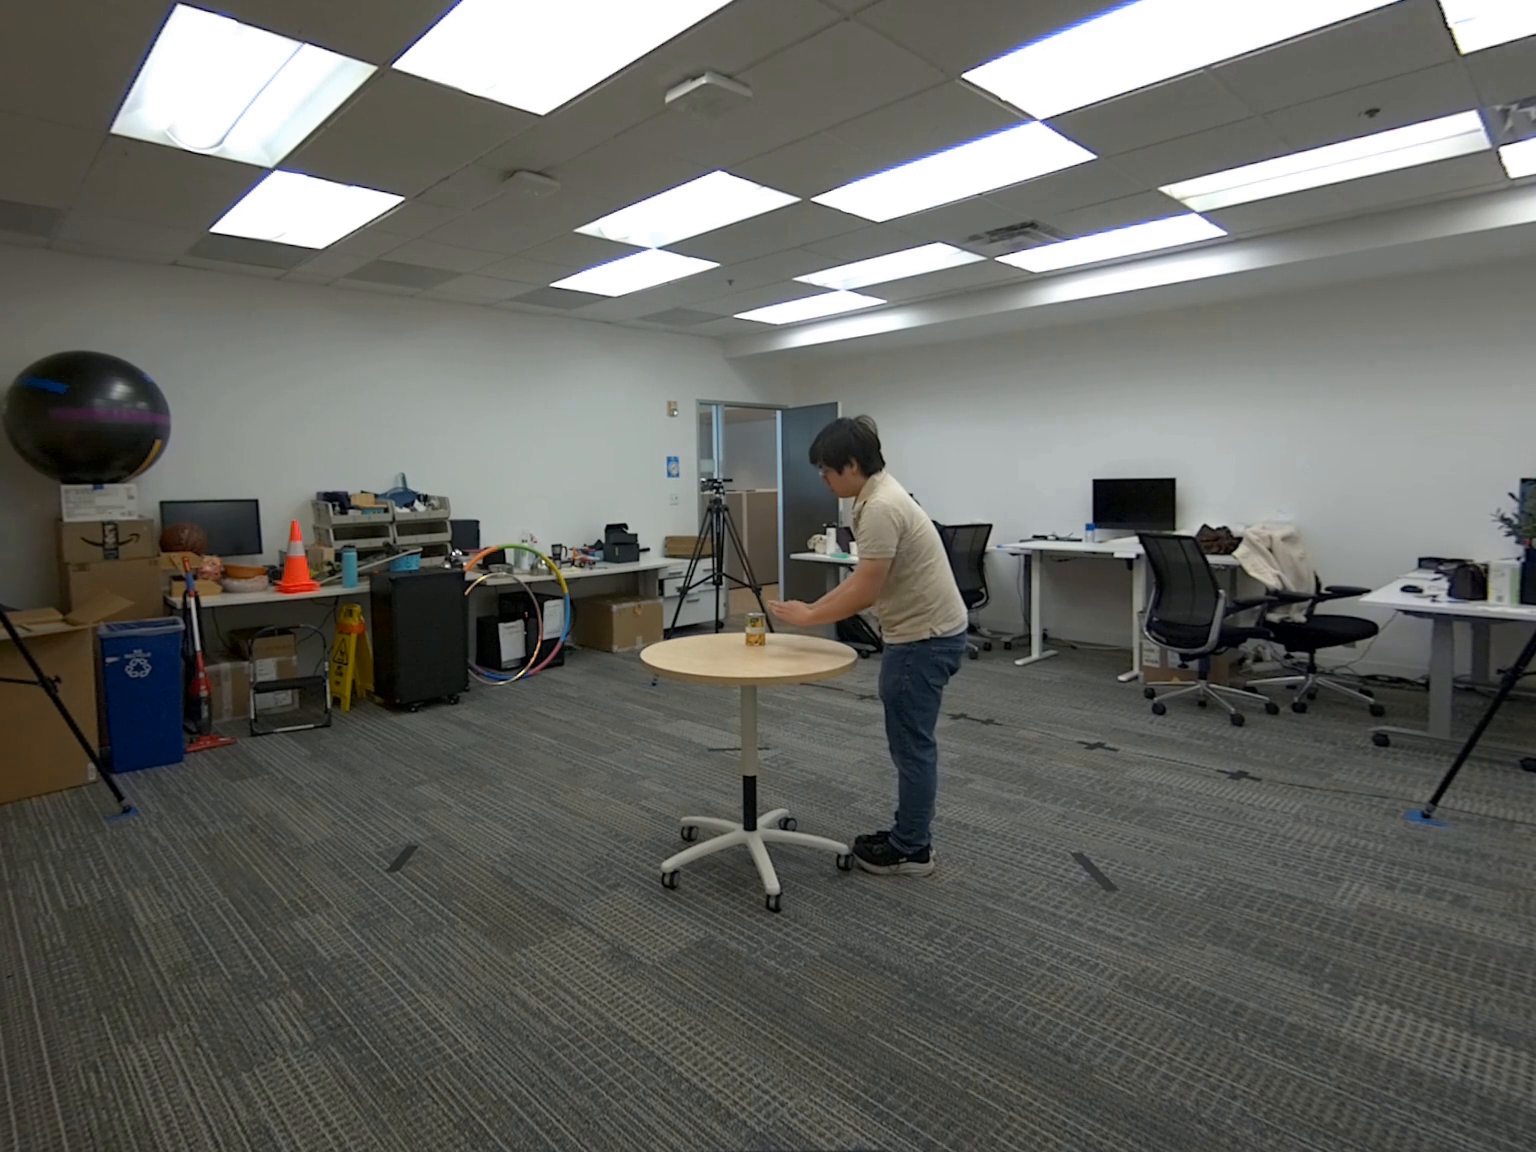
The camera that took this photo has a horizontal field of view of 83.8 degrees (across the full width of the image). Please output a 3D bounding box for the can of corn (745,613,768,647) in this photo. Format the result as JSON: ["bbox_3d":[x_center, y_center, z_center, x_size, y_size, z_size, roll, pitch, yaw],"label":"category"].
[{"bbox_3d":[-0.038,0.199,3.174,0.074,0.111,0.074,1,-1,-2],"label":"can of corn"}]
